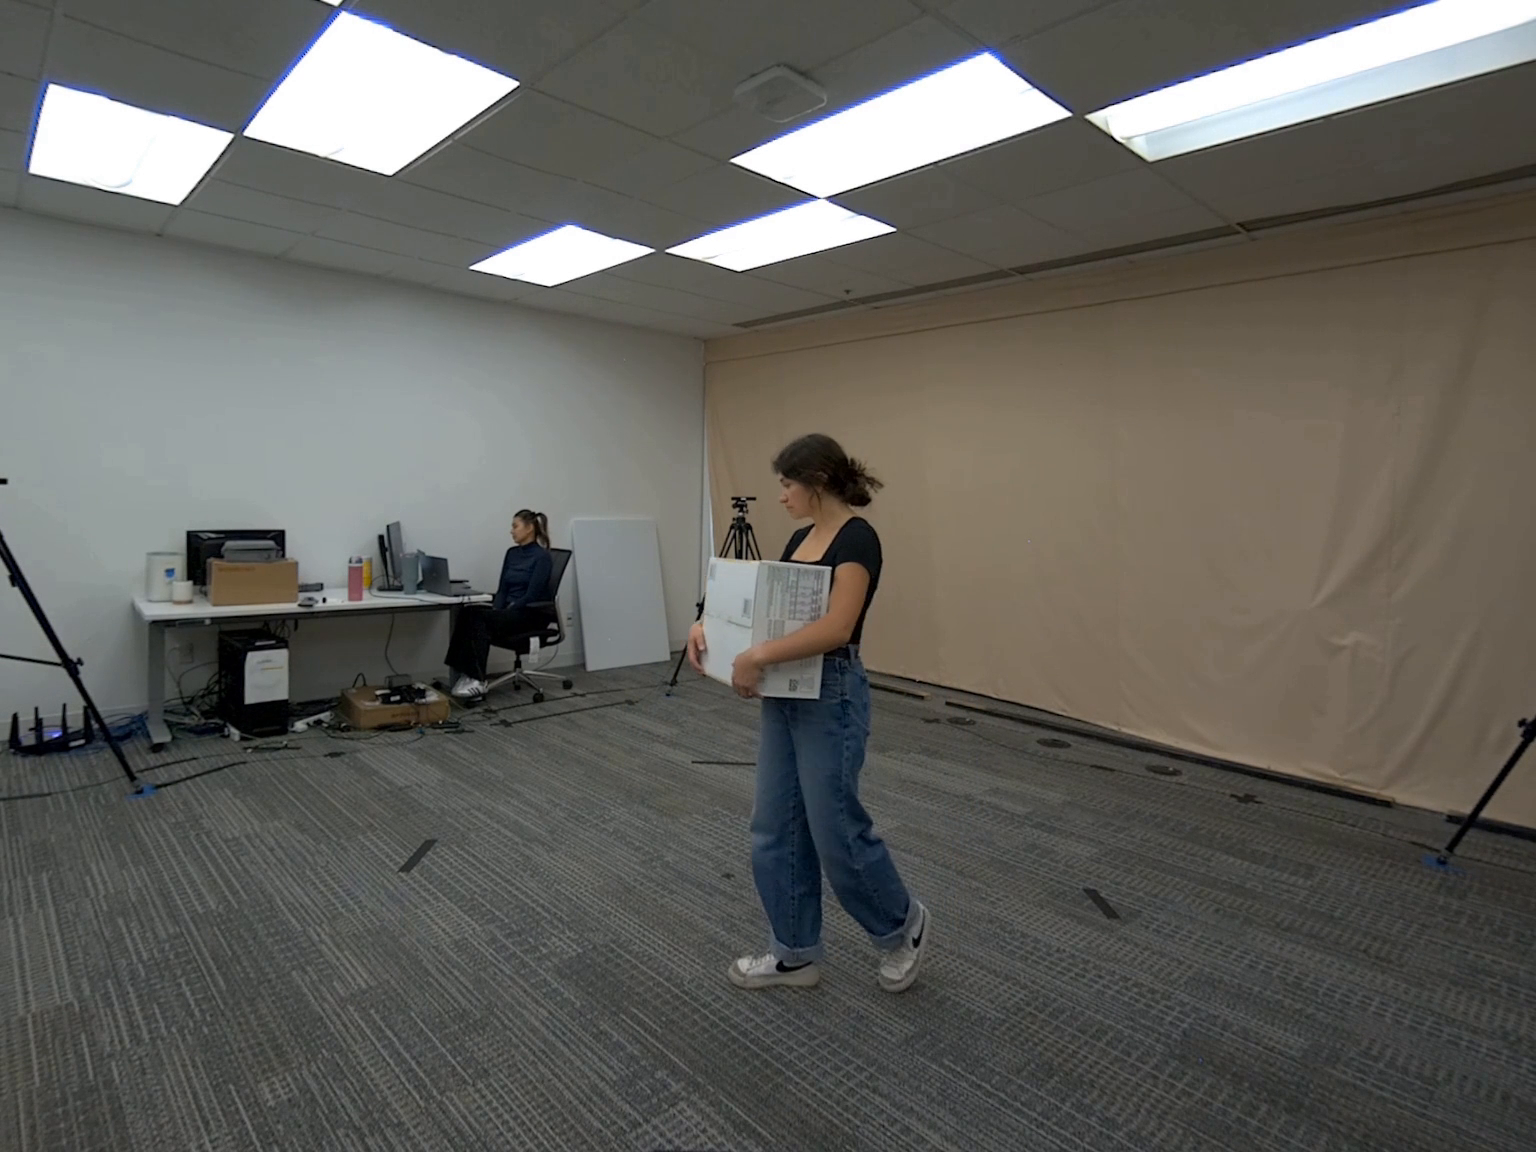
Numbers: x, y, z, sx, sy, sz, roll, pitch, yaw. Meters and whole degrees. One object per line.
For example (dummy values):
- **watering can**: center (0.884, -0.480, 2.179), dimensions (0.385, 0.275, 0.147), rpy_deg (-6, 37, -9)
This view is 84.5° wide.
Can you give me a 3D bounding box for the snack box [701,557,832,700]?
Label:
- **snack box**: center (-0.022, 0.130, 2.315), dimensions (0.202, 0.341, 0.411), rpy_deg (6, -1, -21)
